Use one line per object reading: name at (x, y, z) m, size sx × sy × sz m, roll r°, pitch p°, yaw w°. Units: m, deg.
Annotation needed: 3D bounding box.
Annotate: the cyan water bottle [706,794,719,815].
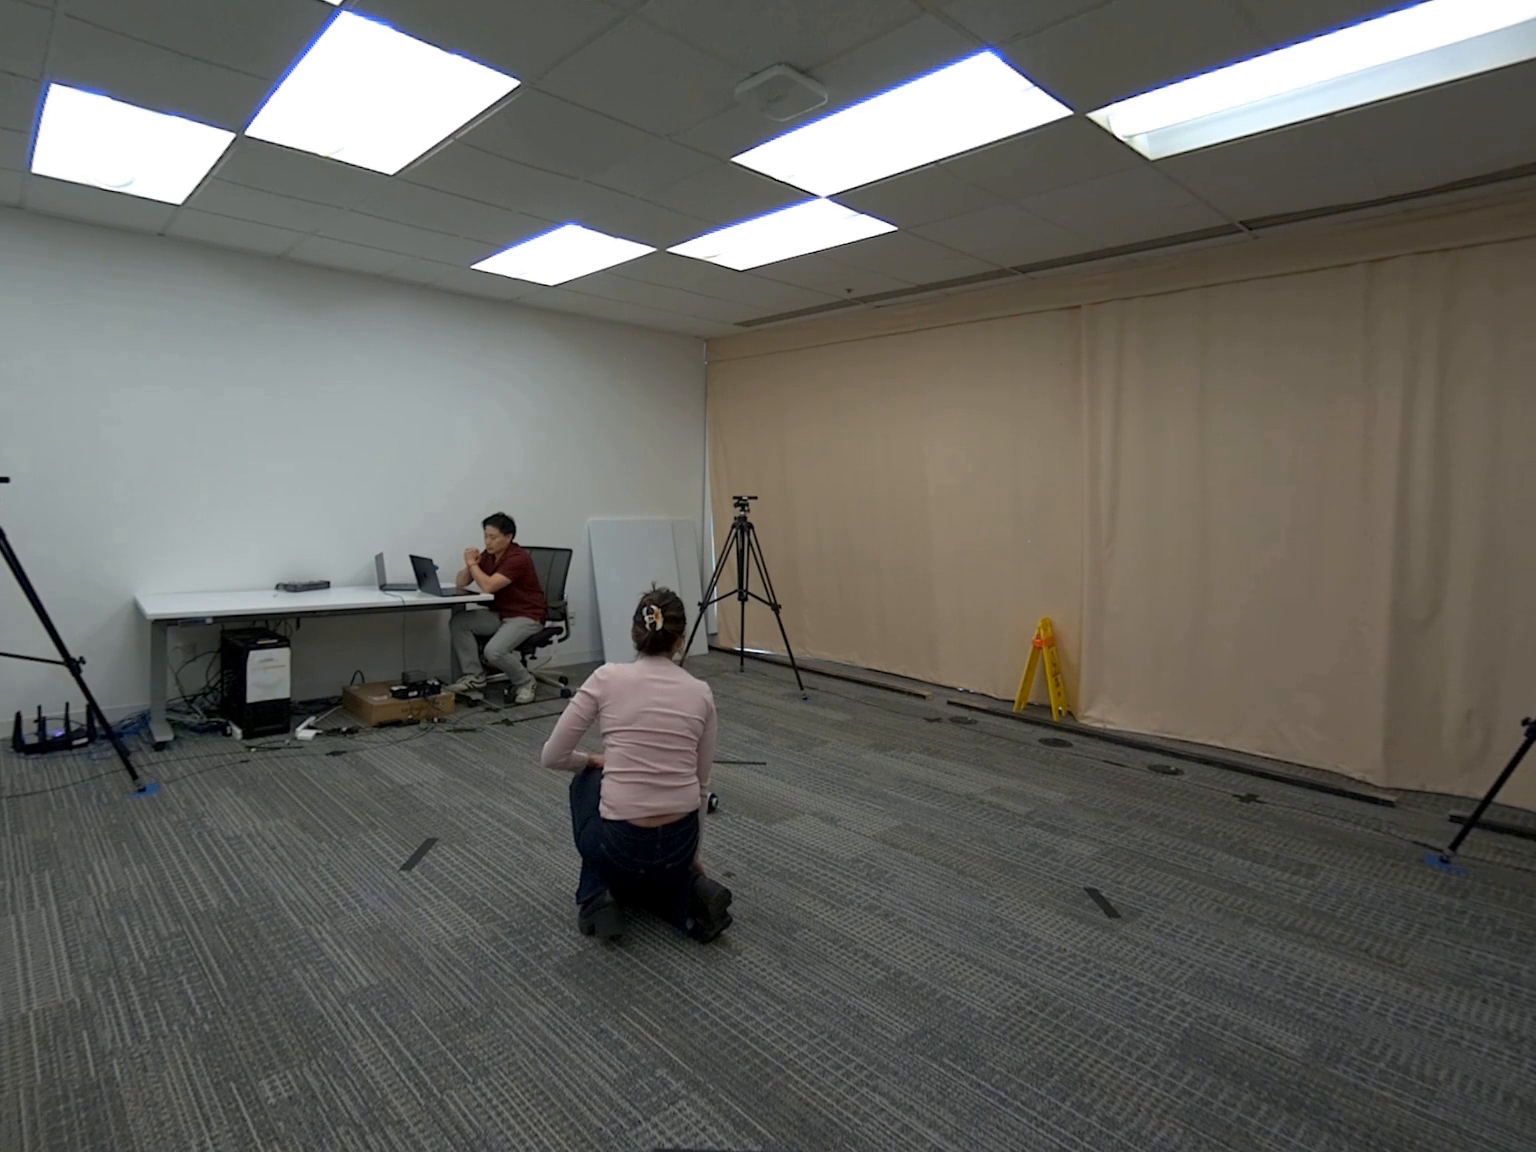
cyan water bottle at (-0.369, 0.998, 3.757) m, size 0.286 × 0.092 × 0.091 m, roll 2°, pitch 4°, yaw 14°
